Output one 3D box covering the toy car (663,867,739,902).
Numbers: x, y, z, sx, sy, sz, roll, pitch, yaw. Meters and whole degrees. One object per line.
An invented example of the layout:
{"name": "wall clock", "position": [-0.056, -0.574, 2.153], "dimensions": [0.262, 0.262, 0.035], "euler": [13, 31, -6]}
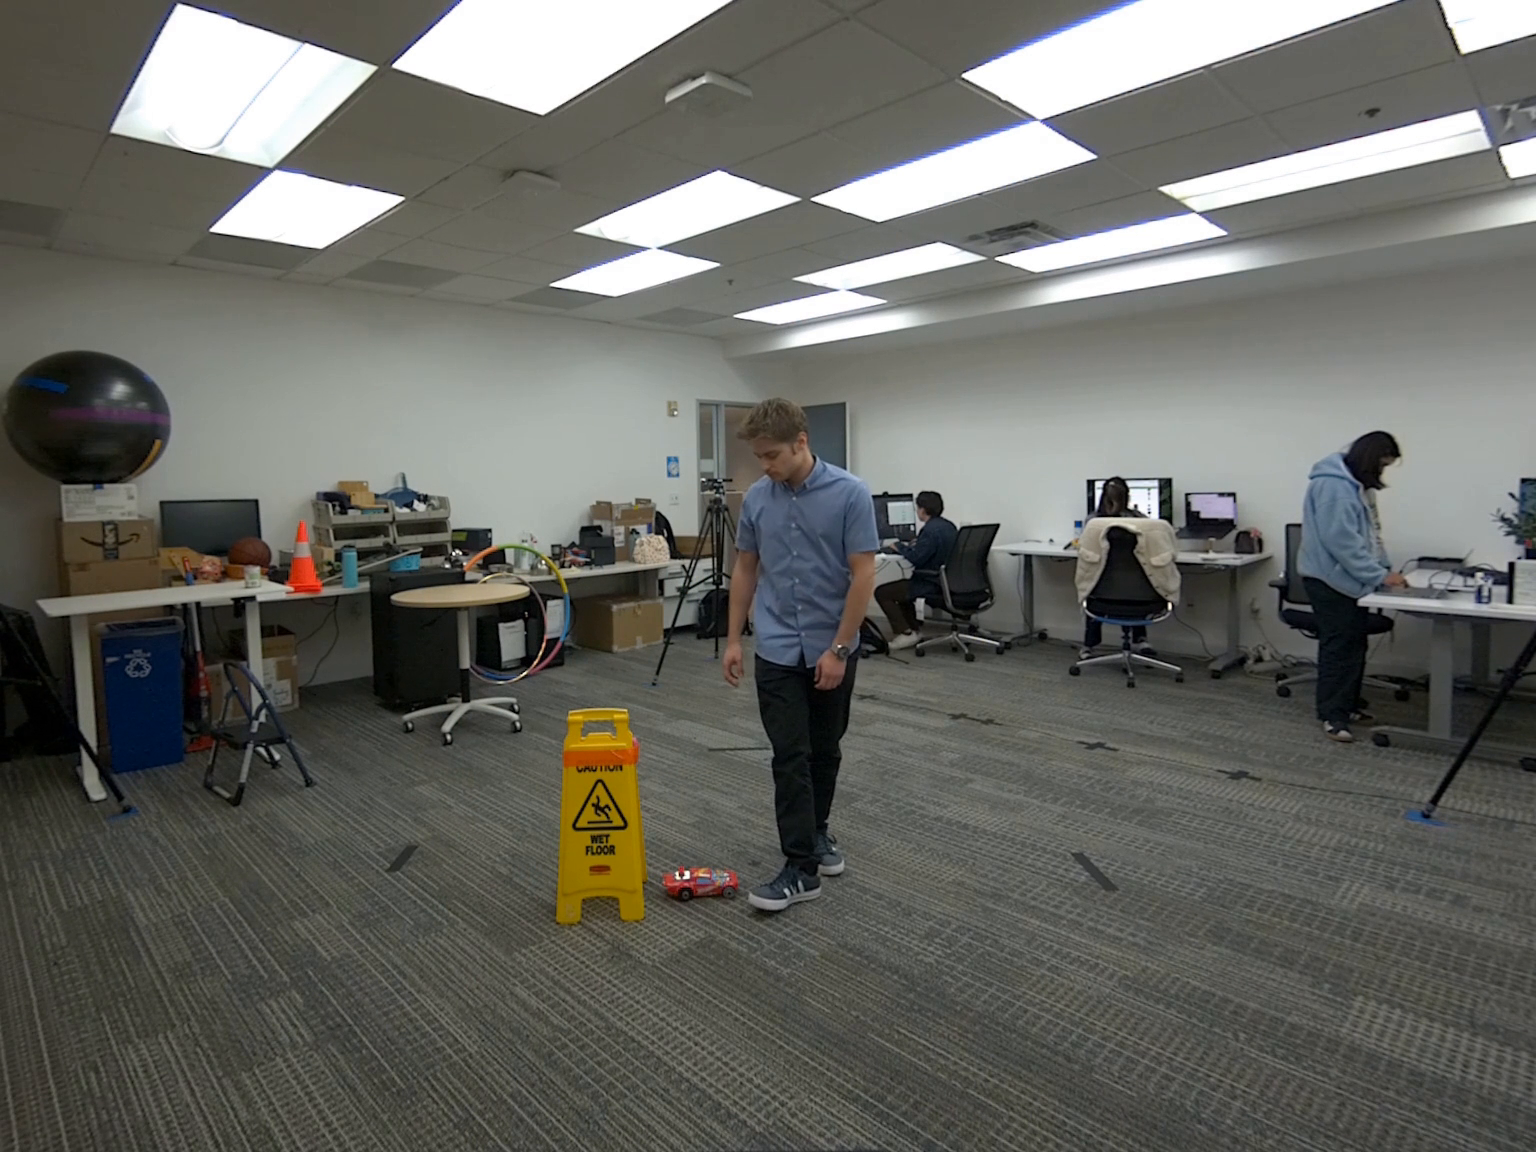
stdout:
{"name": "toy car", "position": [-0.230, 1.039, 2.882], "dimensions": [0.253, 0.083, 0.131], "euler": [10, 4, -5]}
